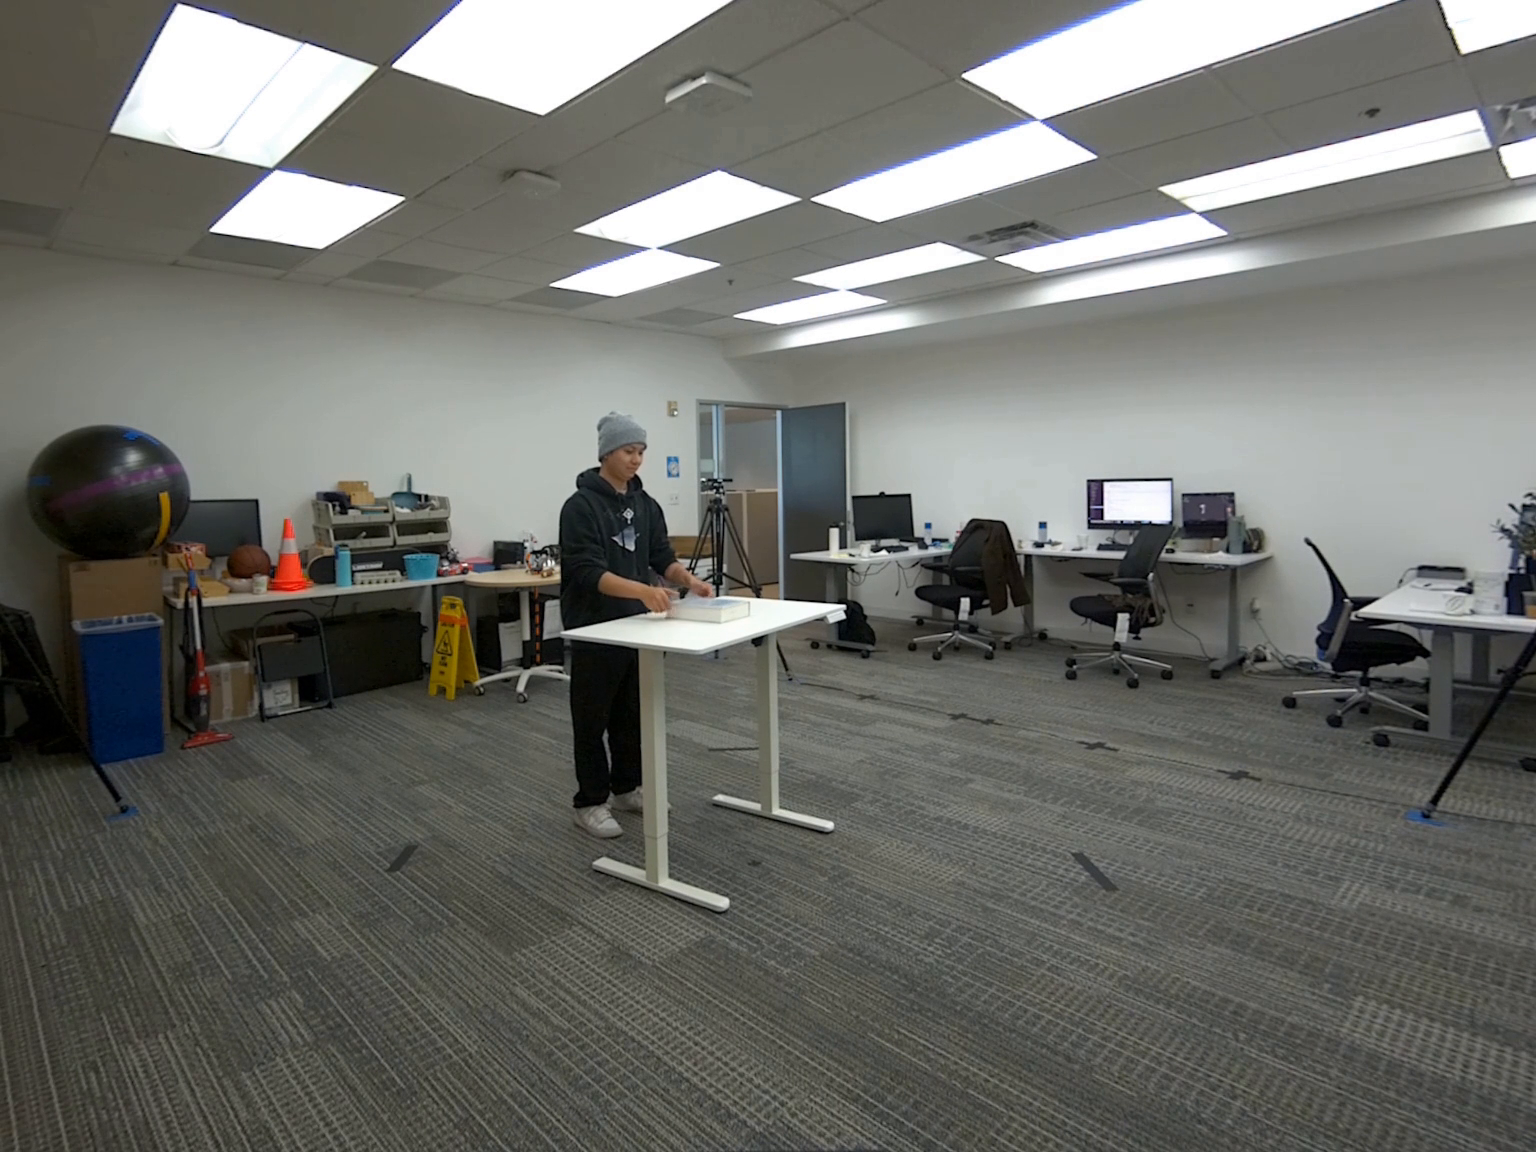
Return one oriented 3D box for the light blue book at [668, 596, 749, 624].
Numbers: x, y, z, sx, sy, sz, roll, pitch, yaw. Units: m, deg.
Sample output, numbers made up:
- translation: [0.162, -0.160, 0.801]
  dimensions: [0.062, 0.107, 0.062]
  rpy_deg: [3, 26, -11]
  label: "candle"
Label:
- translation: [-0.230, 0.130, 3.189]
  dimensions: [0.268, 0.059, 0.187]
  rpy_deg: [3, 7, 34]
  label: "light blue book"
